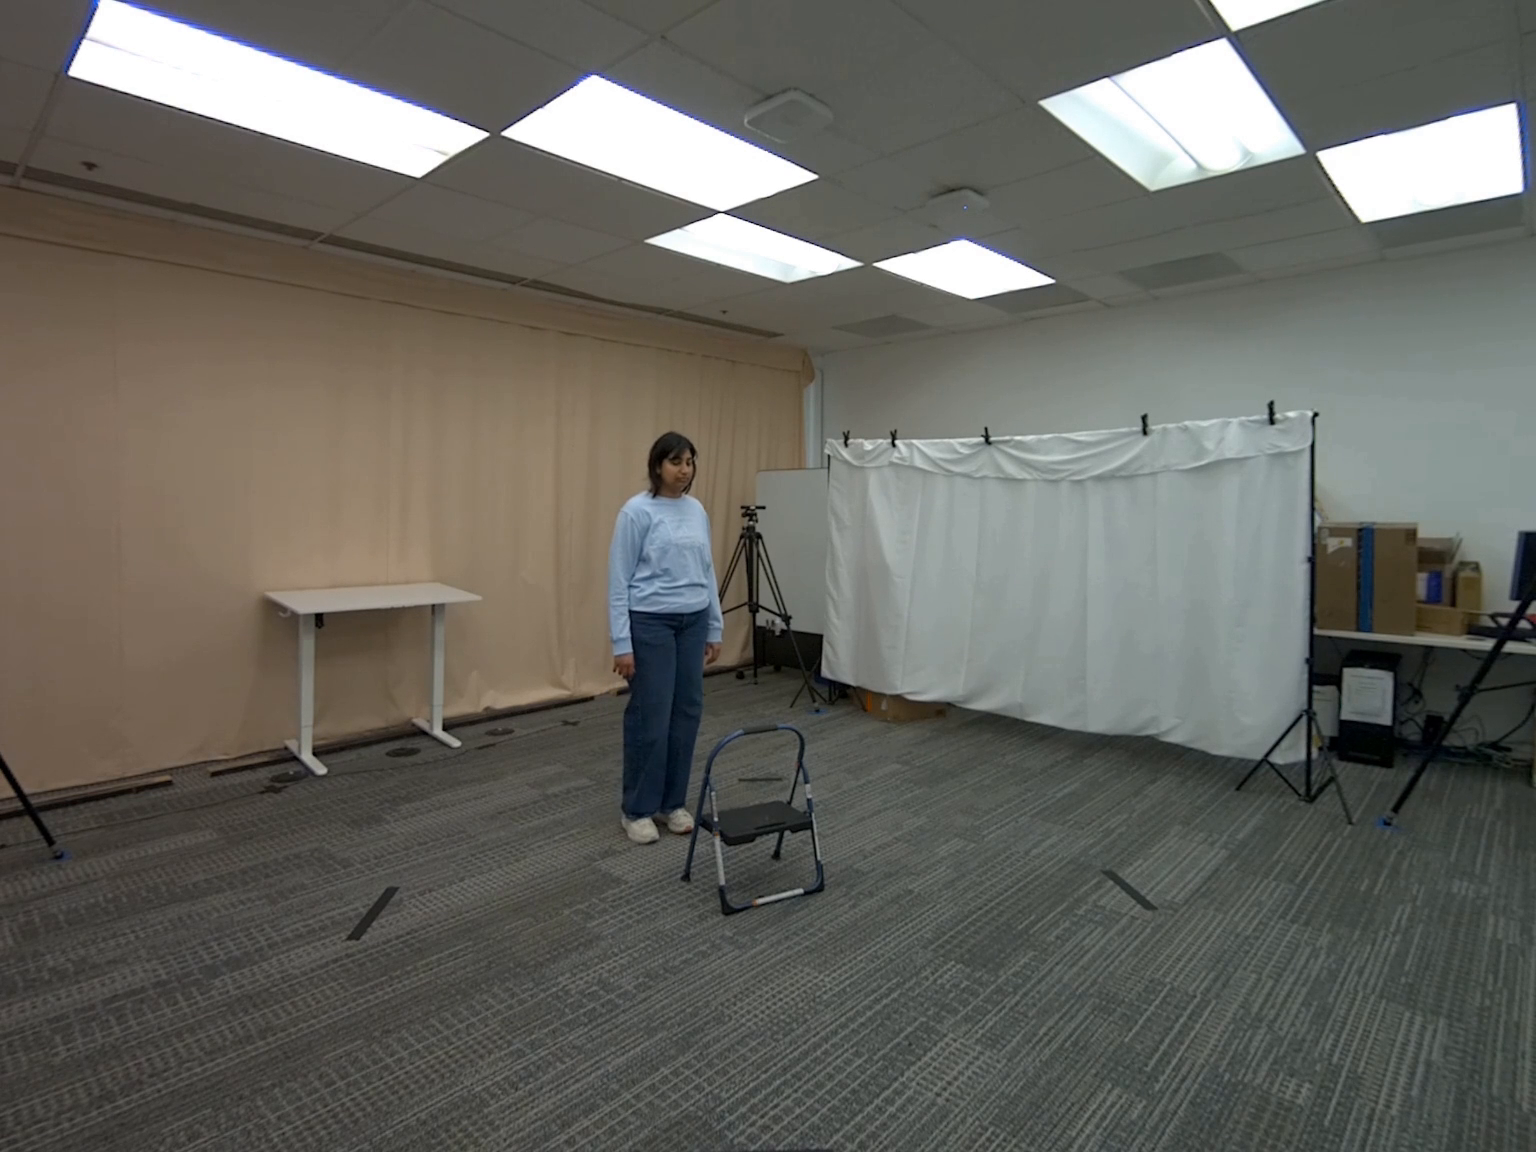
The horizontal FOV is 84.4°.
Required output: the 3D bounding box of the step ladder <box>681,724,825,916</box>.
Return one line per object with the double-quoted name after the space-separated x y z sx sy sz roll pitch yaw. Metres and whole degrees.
-0.059 0.828 3.081 0.419 0.605 0.359 -3 4 -30 "step ladder"
